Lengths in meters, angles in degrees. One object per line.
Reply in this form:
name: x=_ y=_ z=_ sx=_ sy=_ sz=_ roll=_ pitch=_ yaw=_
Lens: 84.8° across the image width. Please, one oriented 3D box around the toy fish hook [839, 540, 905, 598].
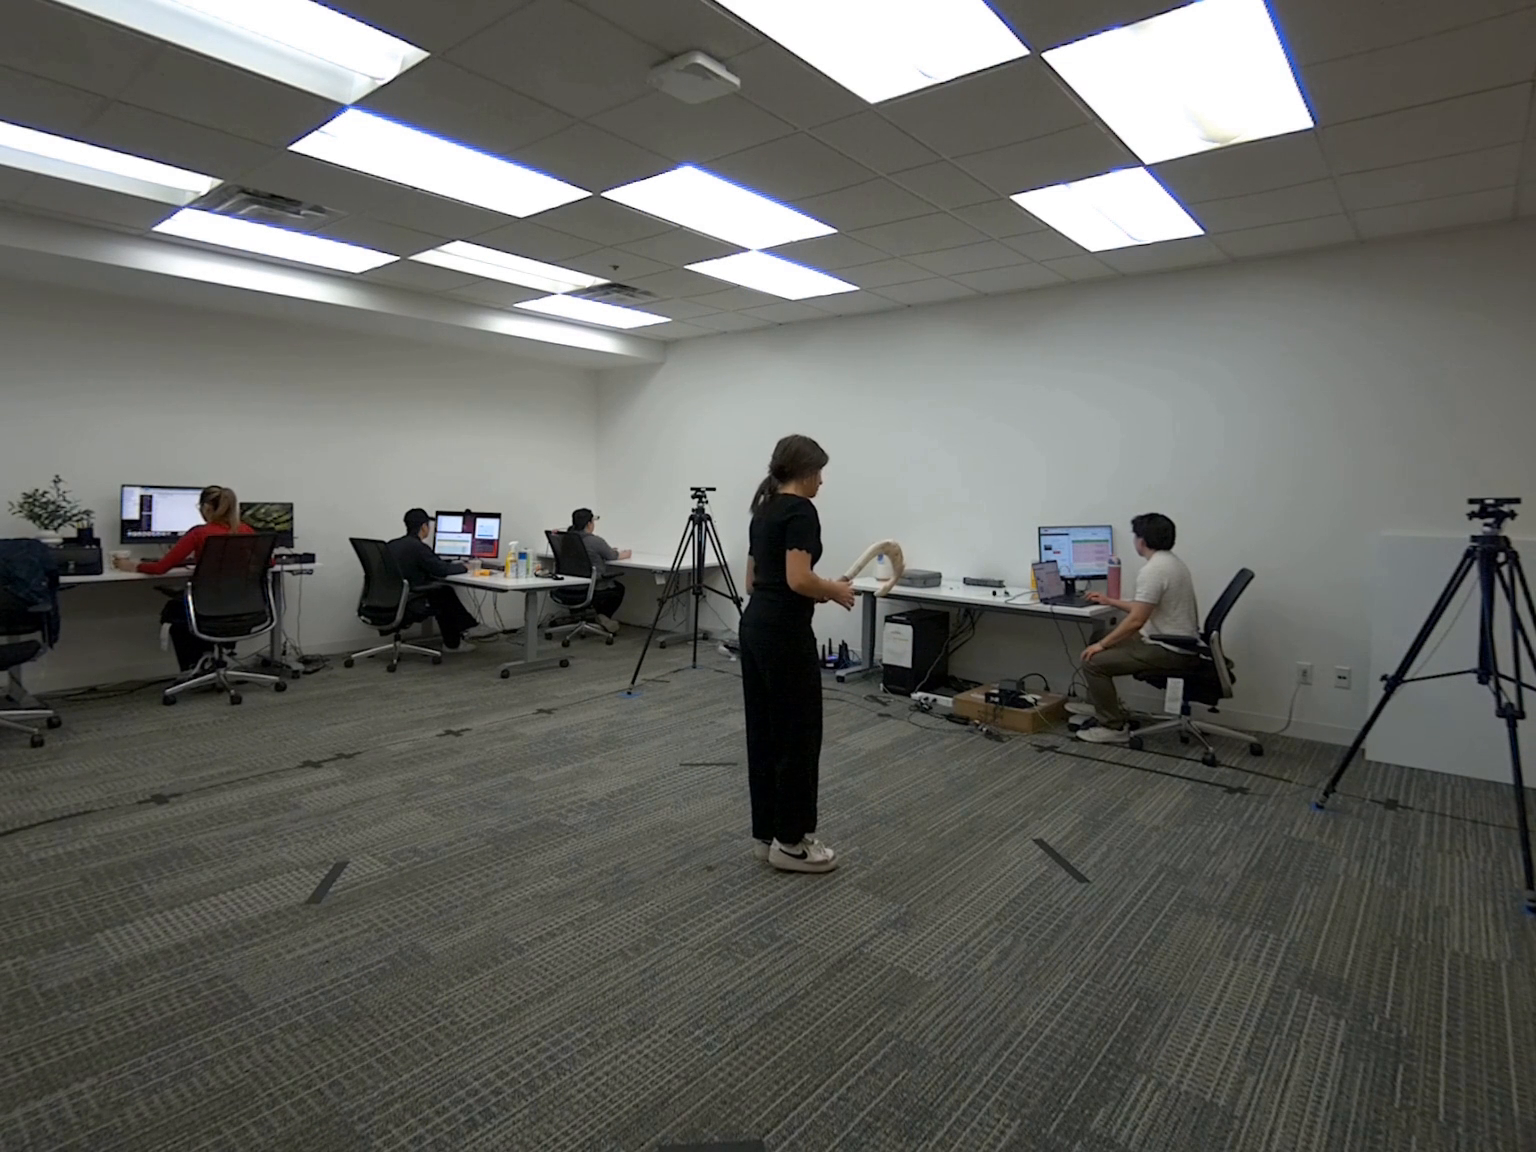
toy fish hook: x=0.358 y=0.030 z=3.422 sx=0.501 sy=0.220 sz=0.050 roll=-30 pitch=18 yaw=-24
